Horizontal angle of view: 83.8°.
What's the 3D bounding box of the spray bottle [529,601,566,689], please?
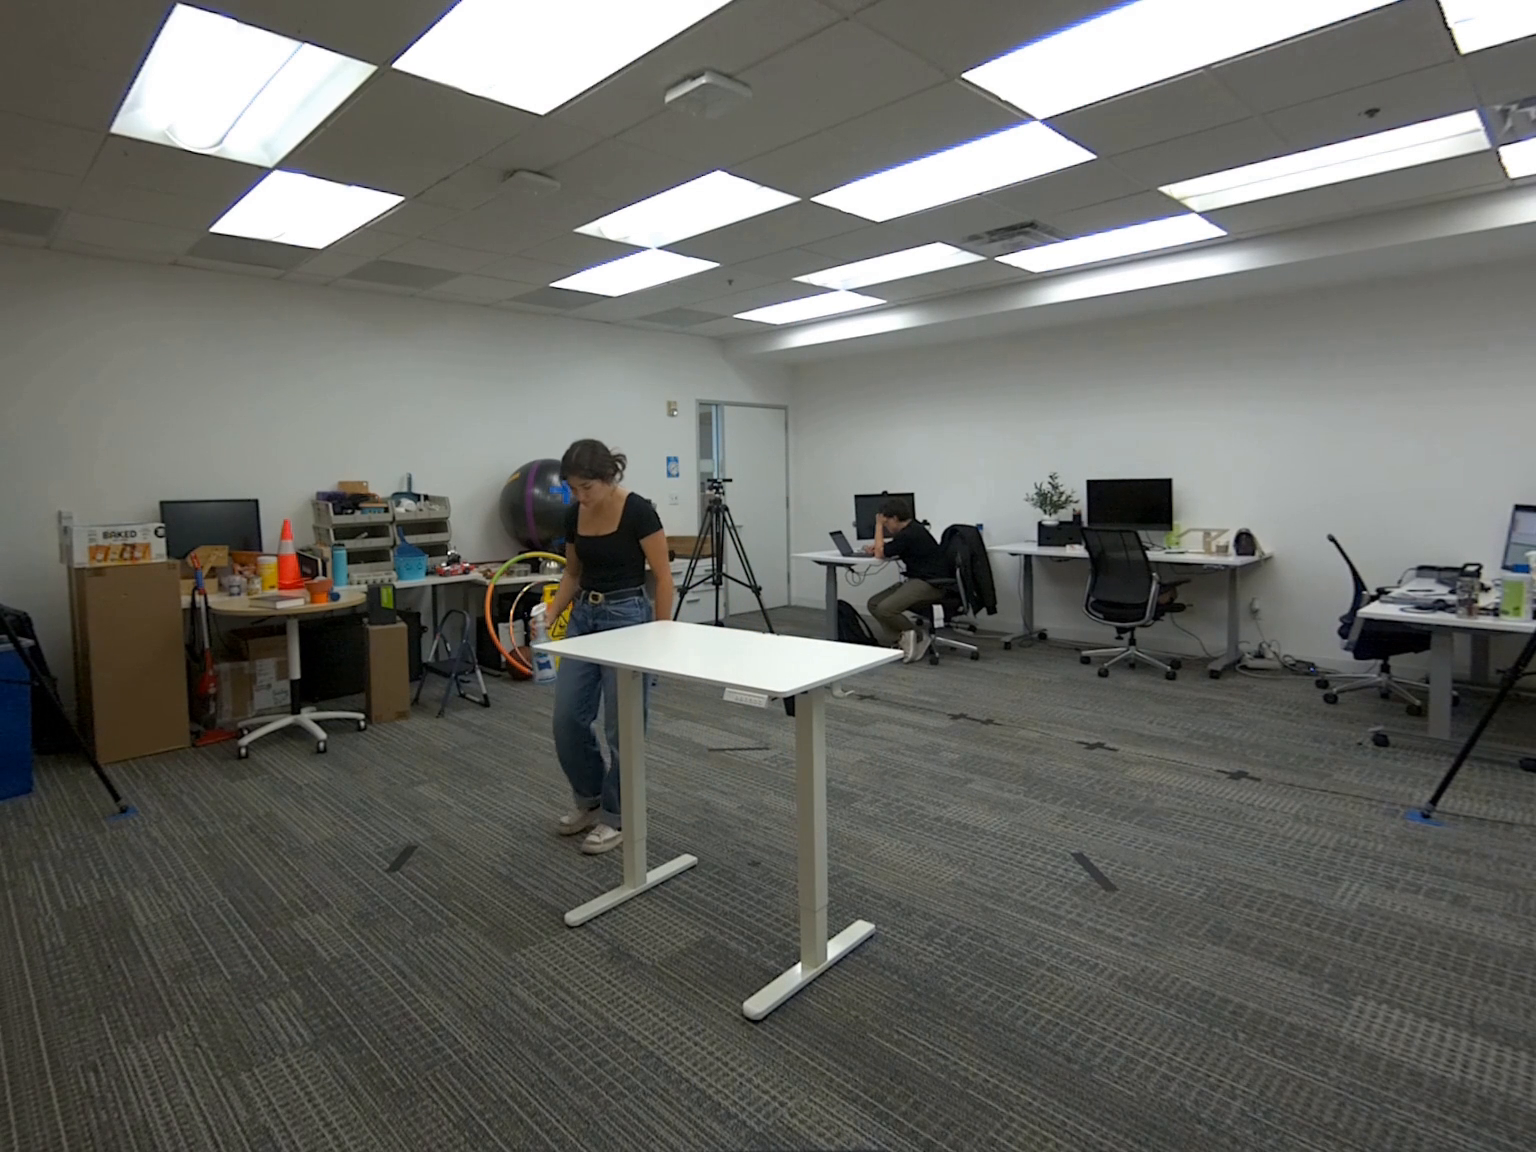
[{"bbox_3d":[-0.821,0.253,3.187,0.088,0.295,0.090,-8,11,-42],"label":"spray bottle"}]
